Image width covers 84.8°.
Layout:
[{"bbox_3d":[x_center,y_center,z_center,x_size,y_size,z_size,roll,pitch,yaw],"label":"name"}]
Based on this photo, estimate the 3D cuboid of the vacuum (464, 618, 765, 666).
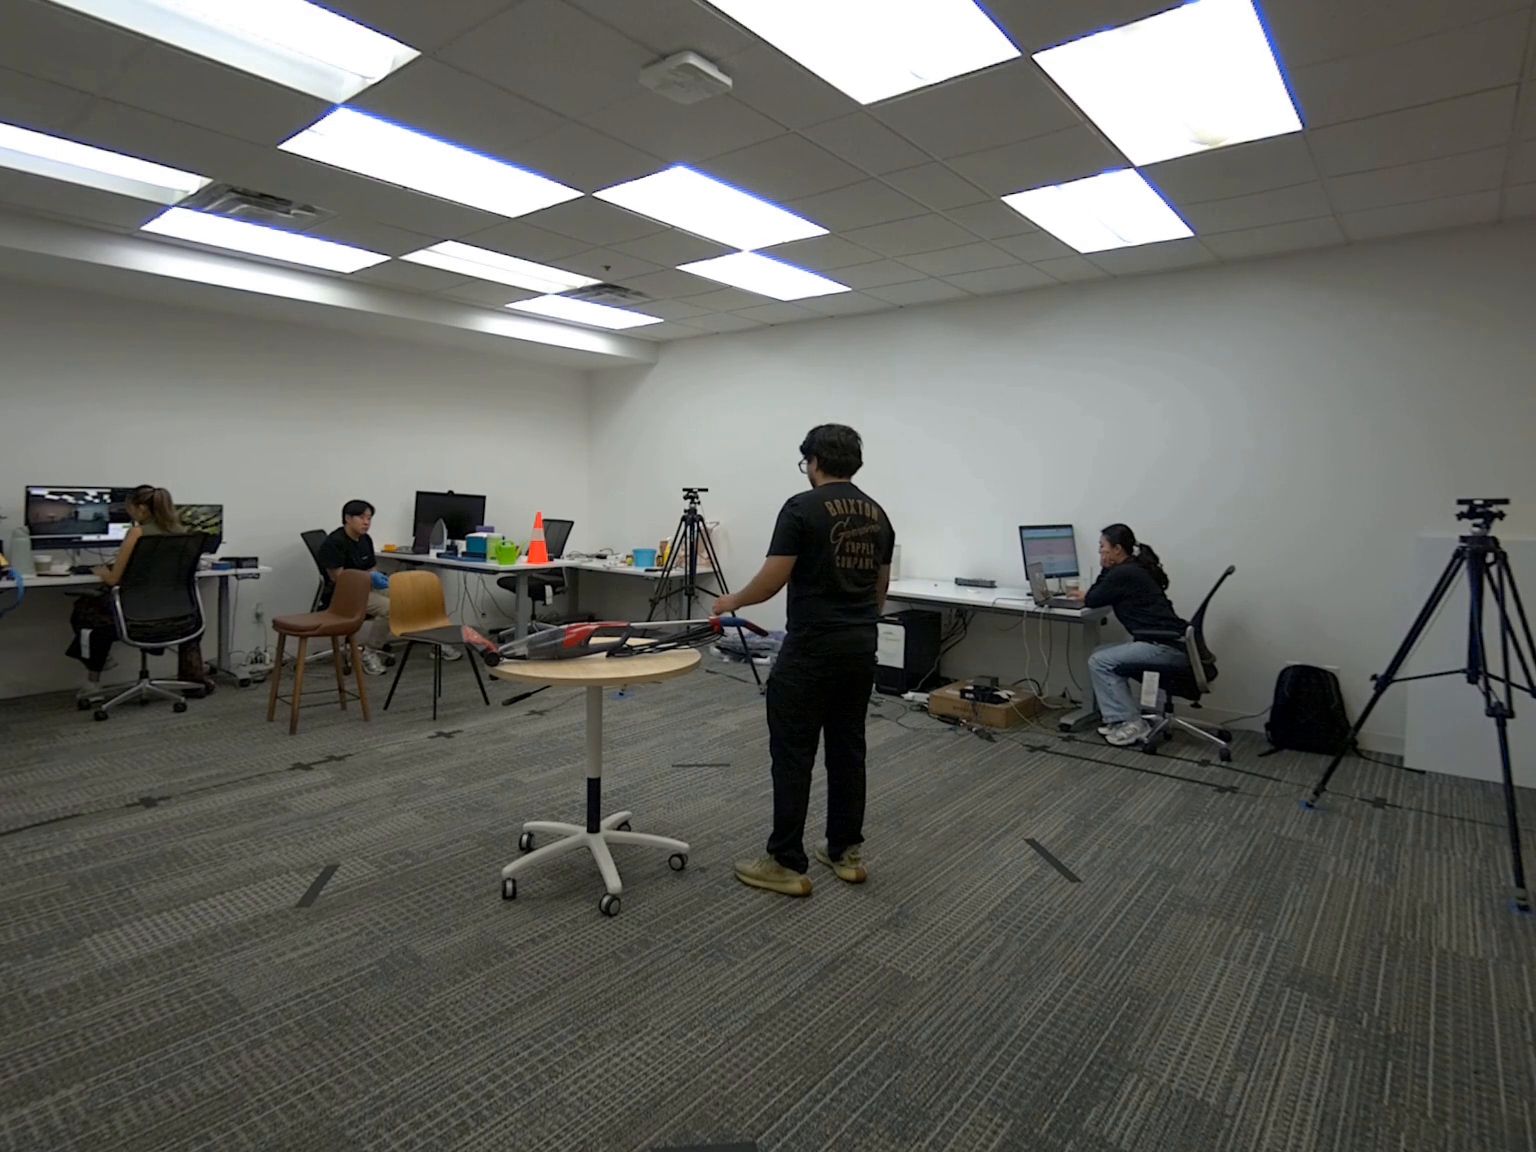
[{"bbox_3d":[-0.522,0.234,3.048,1.030,0.143,0.258,-1,6,-18],"label":"vacuum"}]
